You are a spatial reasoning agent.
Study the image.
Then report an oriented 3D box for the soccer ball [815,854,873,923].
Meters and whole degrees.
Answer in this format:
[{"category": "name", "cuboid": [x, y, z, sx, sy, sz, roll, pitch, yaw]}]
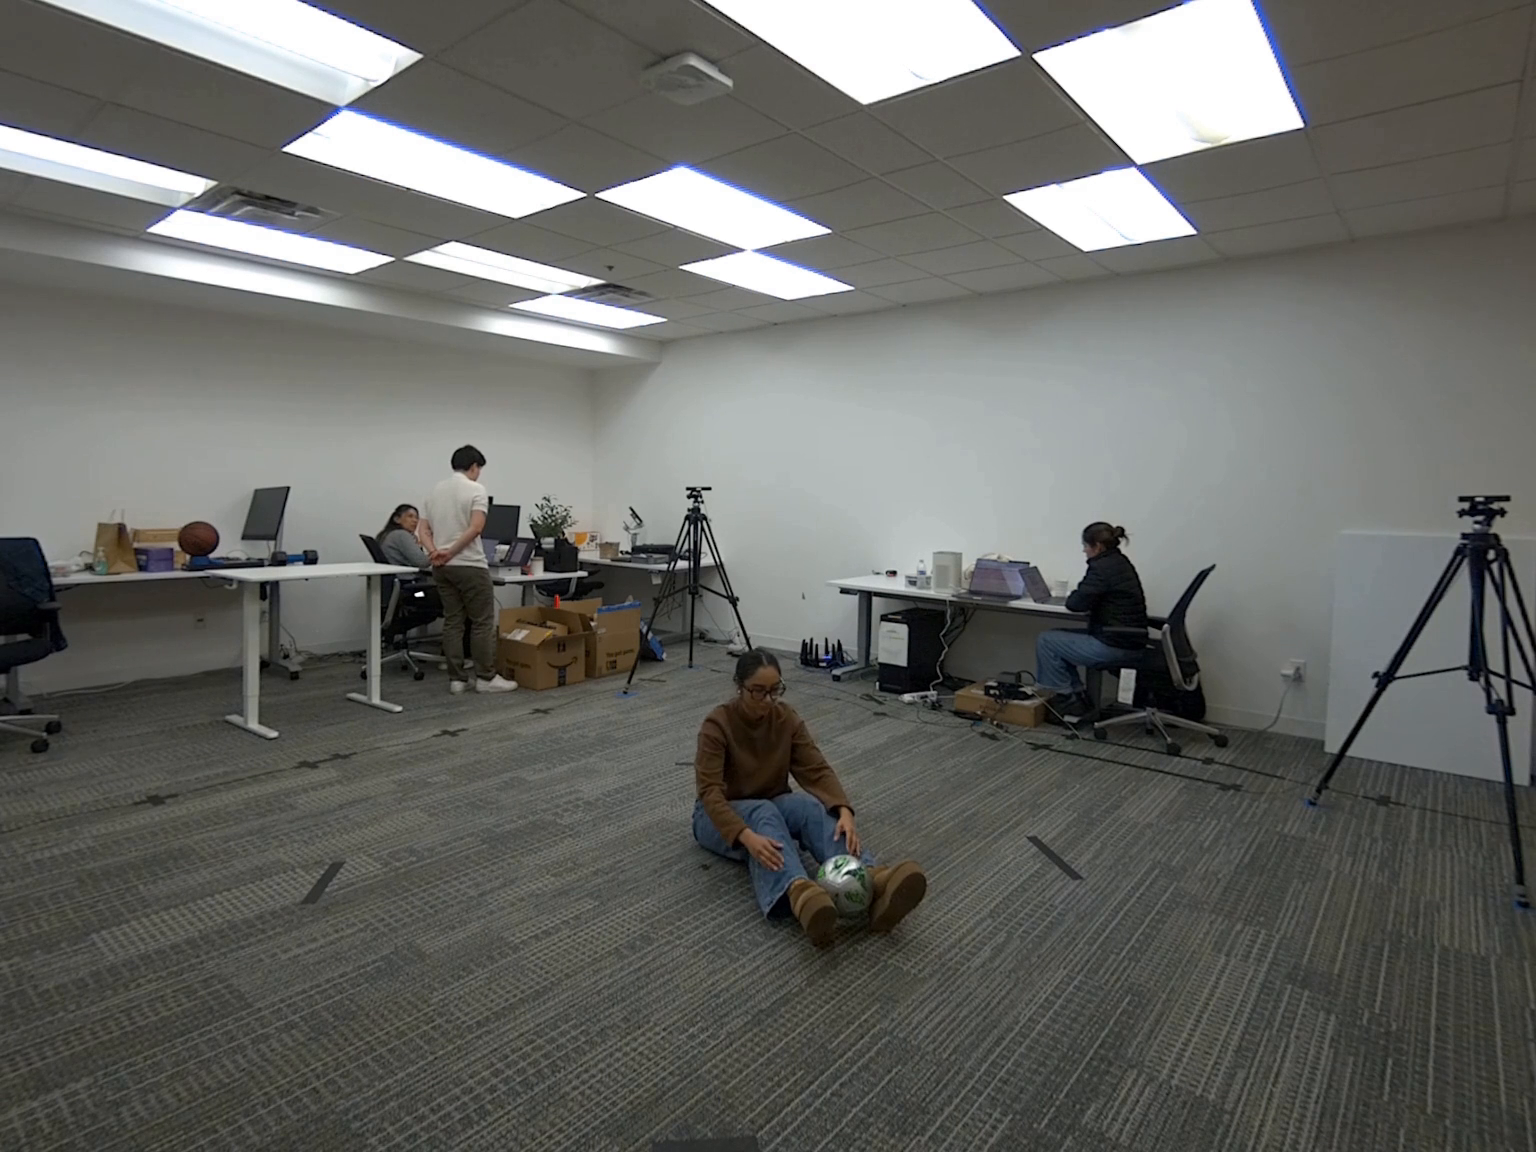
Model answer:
[{"category": "soccer ball", "cuboid": [0.233, 0.982, 2.689, 0.187, 0.187, 0.188, 1, 4, -2]}]
